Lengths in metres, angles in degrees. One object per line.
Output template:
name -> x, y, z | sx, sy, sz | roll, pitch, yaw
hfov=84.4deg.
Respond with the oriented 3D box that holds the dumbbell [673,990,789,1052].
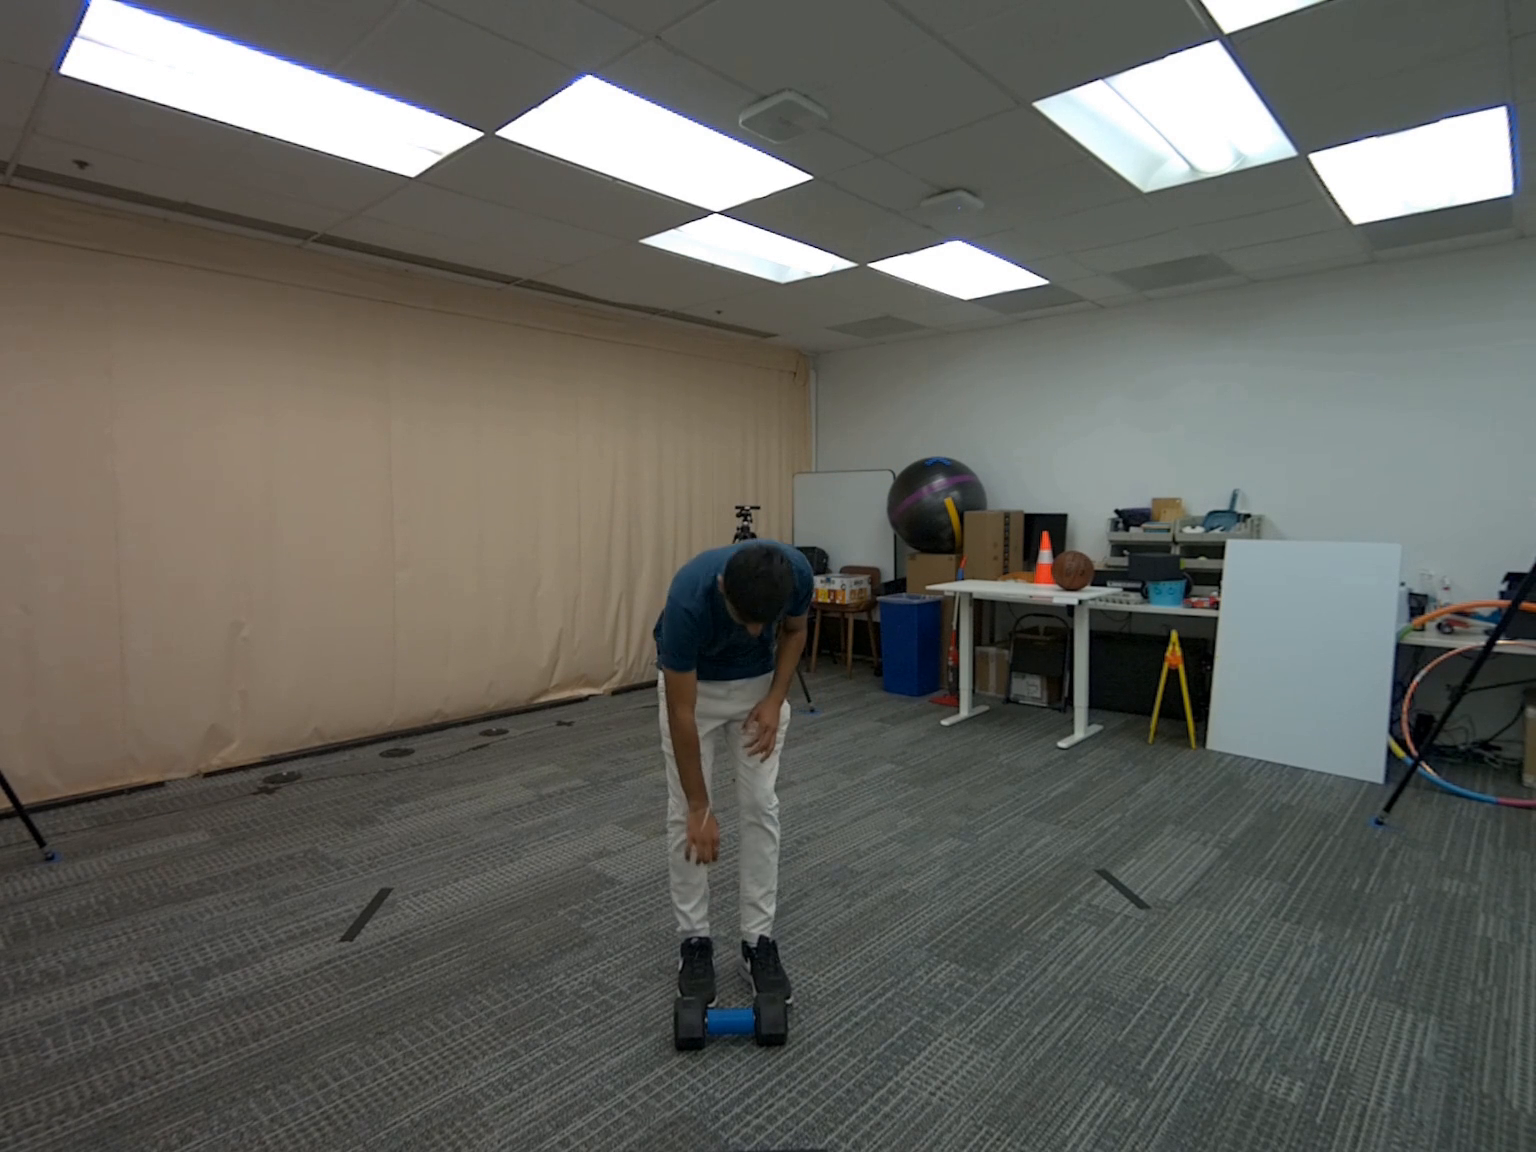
dumbbell -> -0.103, 1.154, 2.191 | 0.292, 0.125, 0.107 | 0, -27, -4
